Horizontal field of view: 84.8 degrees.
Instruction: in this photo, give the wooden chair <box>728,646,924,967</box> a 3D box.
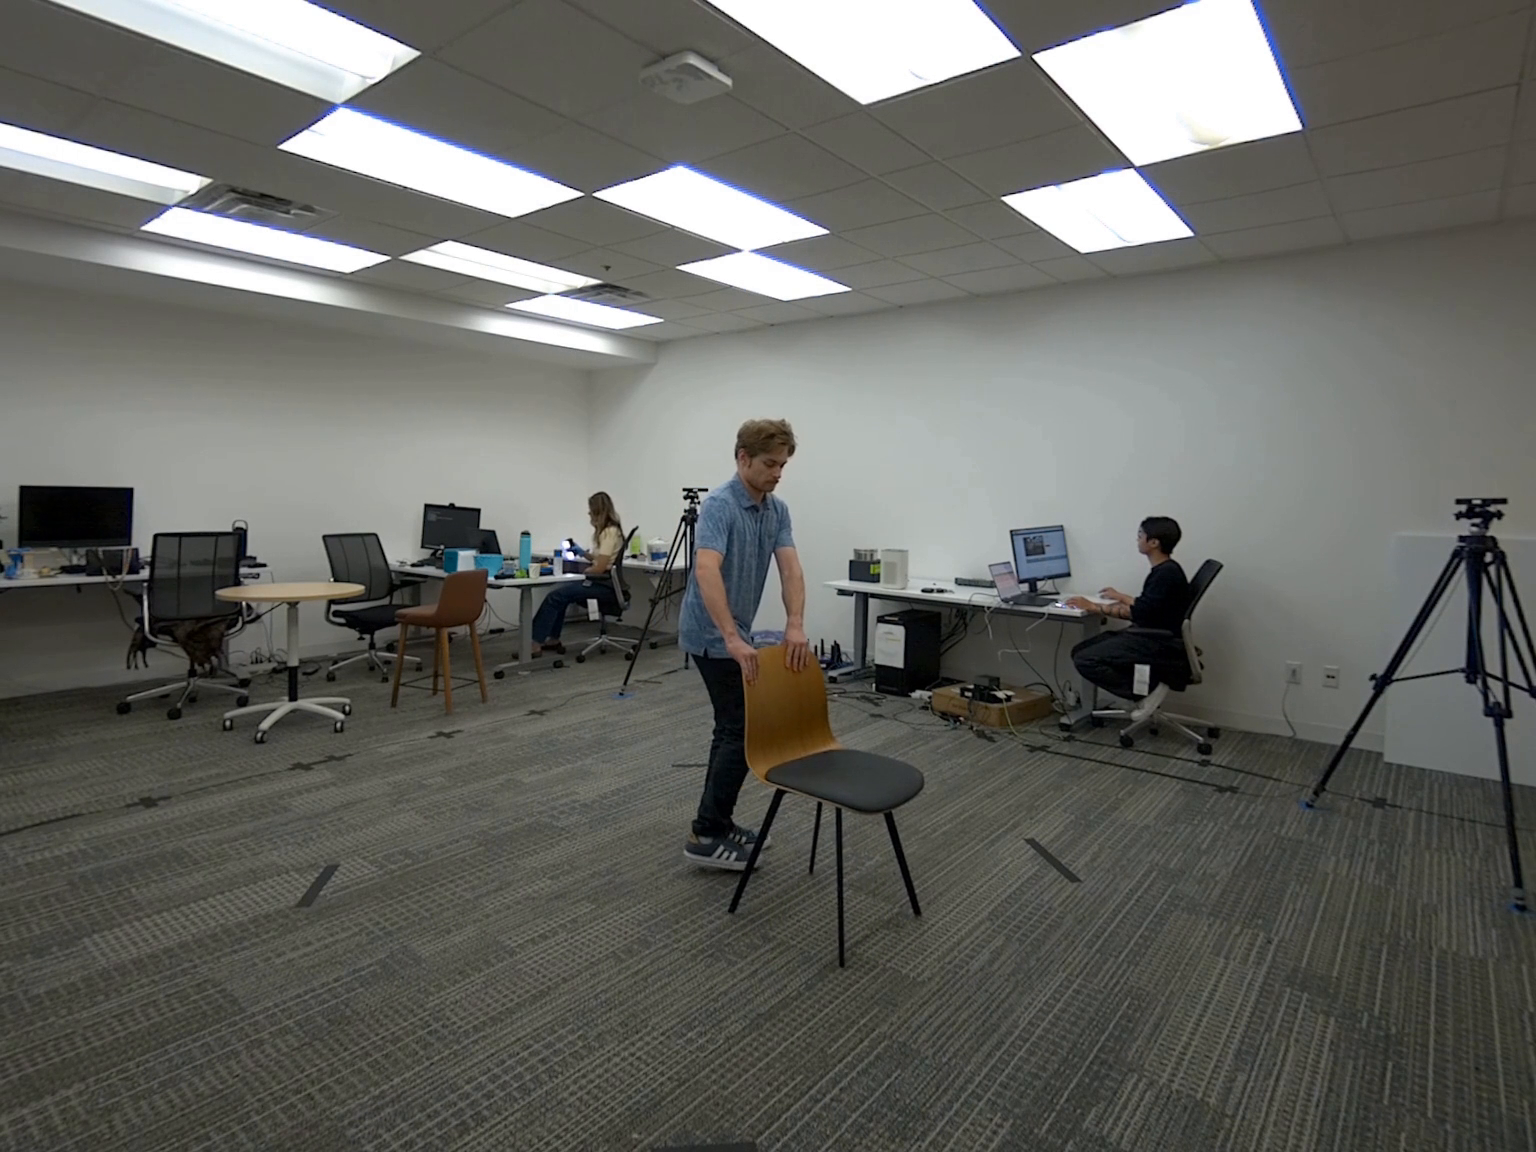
[{"bbox_3d":[0.201,0.682,2.765,0.539,0.877,0.463,-1,1,42],"label":"wooden chair"}]
